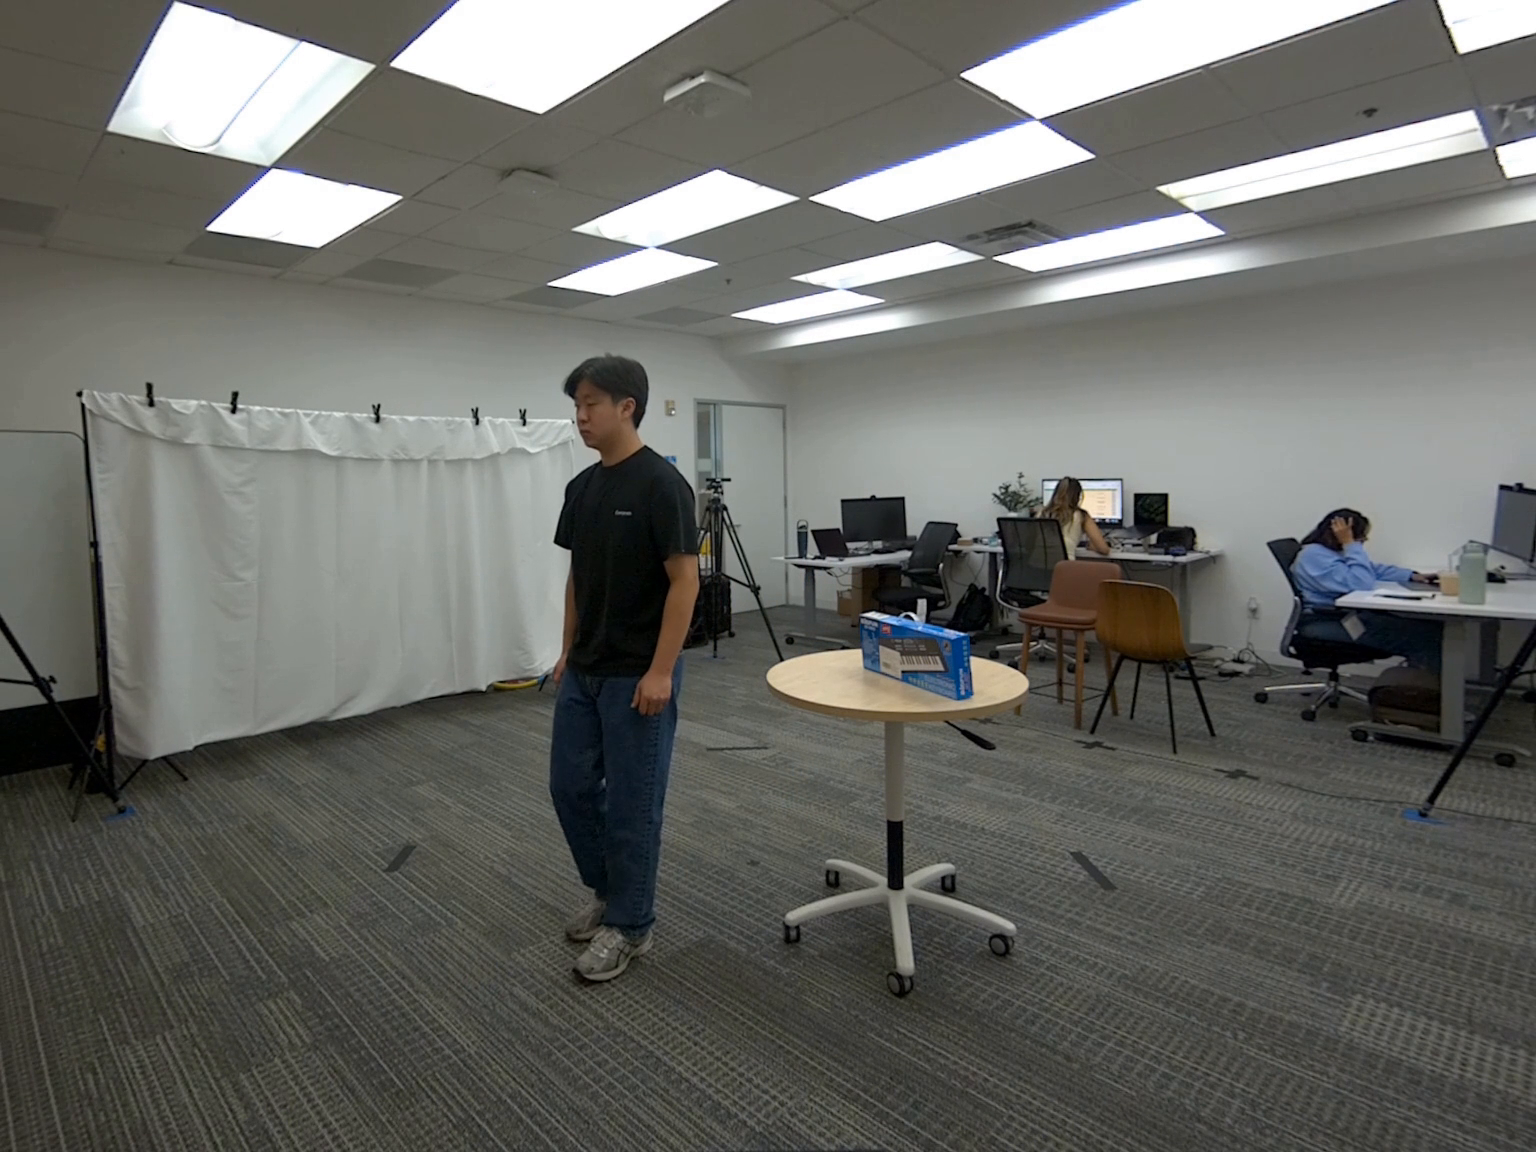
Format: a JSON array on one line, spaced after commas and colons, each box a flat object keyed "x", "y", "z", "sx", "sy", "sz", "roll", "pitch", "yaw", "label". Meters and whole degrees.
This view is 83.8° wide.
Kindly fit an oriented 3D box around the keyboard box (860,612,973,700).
[{"x": 0.417, "y": 0.222, "z": 2.481, "sx": 0.058, "sy": 0.174, "sz": 0.449, "roll": -9, "pitch": 10, "yaw": -26, "label": "keyboard box"}]
